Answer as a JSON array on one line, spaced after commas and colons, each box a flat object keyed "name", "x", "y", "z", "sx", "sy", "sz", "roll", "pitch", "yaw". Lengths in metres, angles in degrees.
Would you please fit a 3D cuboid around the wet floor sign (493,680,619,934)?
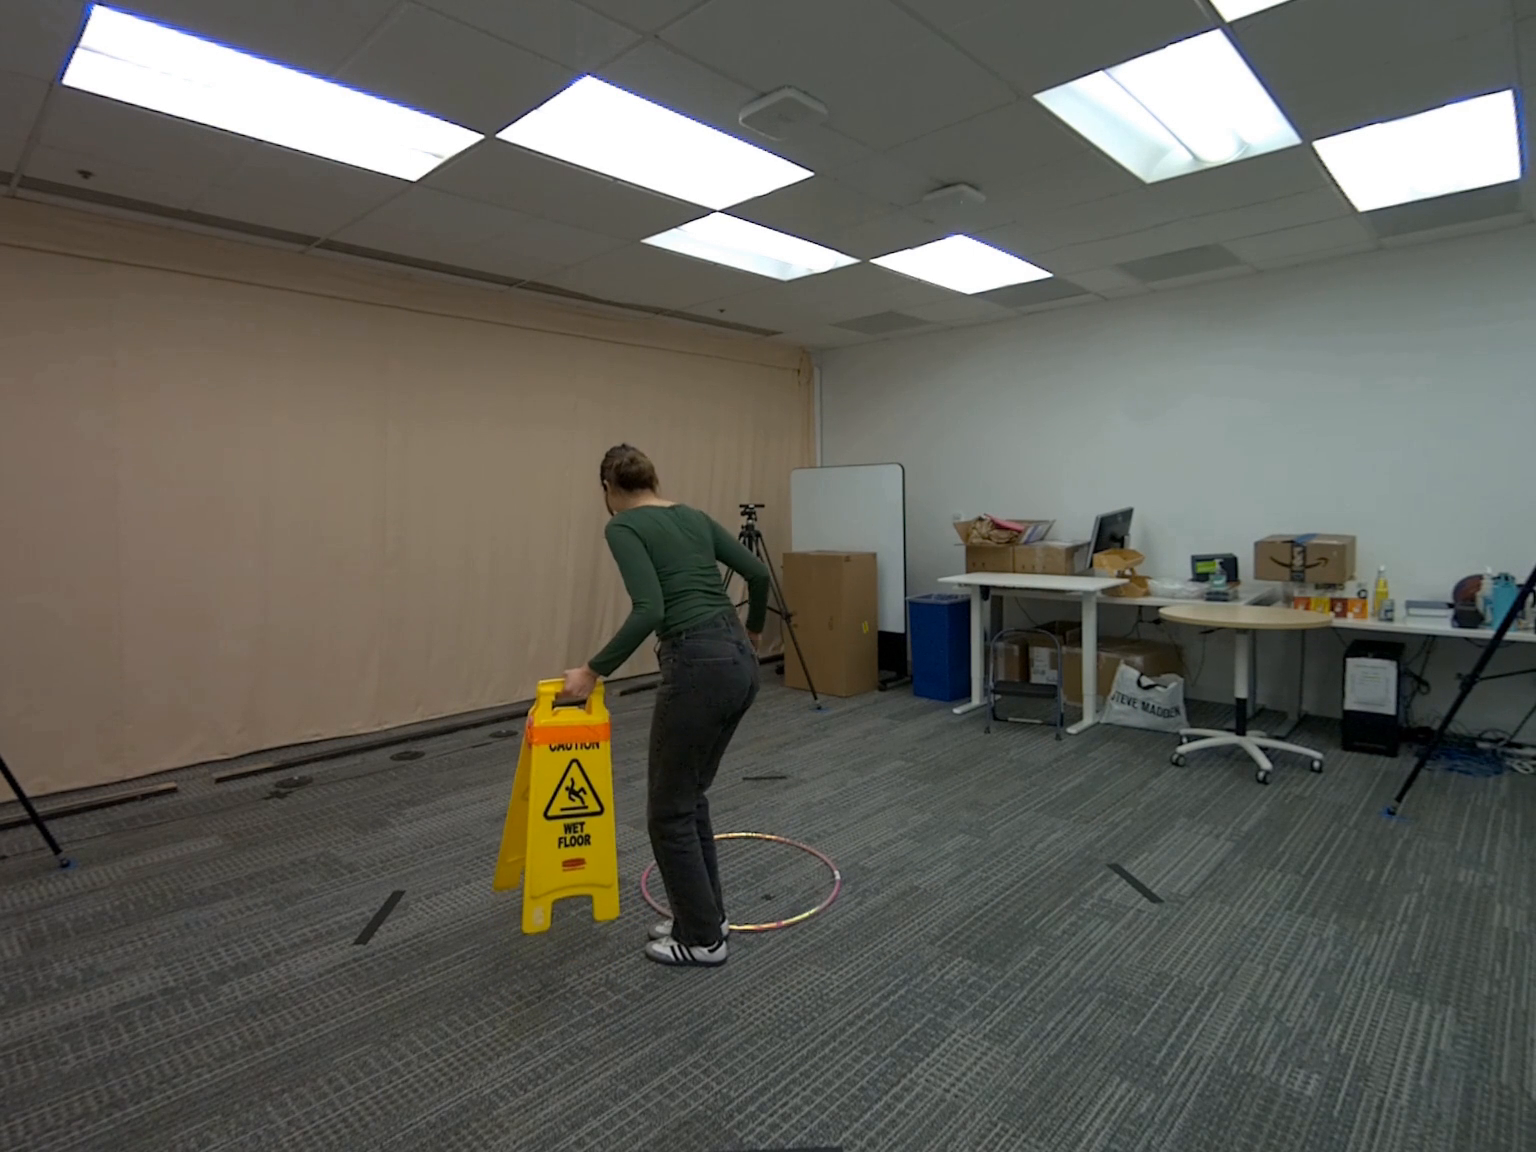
[{"name": "wet floor sign", "x": -0.586, "y": 0.630, "z": 2.407, "sx": 0.274, "sy": 0.646, "sz": 0.298, "roll": 5, "pitch": 0, "yaw": -33}]
